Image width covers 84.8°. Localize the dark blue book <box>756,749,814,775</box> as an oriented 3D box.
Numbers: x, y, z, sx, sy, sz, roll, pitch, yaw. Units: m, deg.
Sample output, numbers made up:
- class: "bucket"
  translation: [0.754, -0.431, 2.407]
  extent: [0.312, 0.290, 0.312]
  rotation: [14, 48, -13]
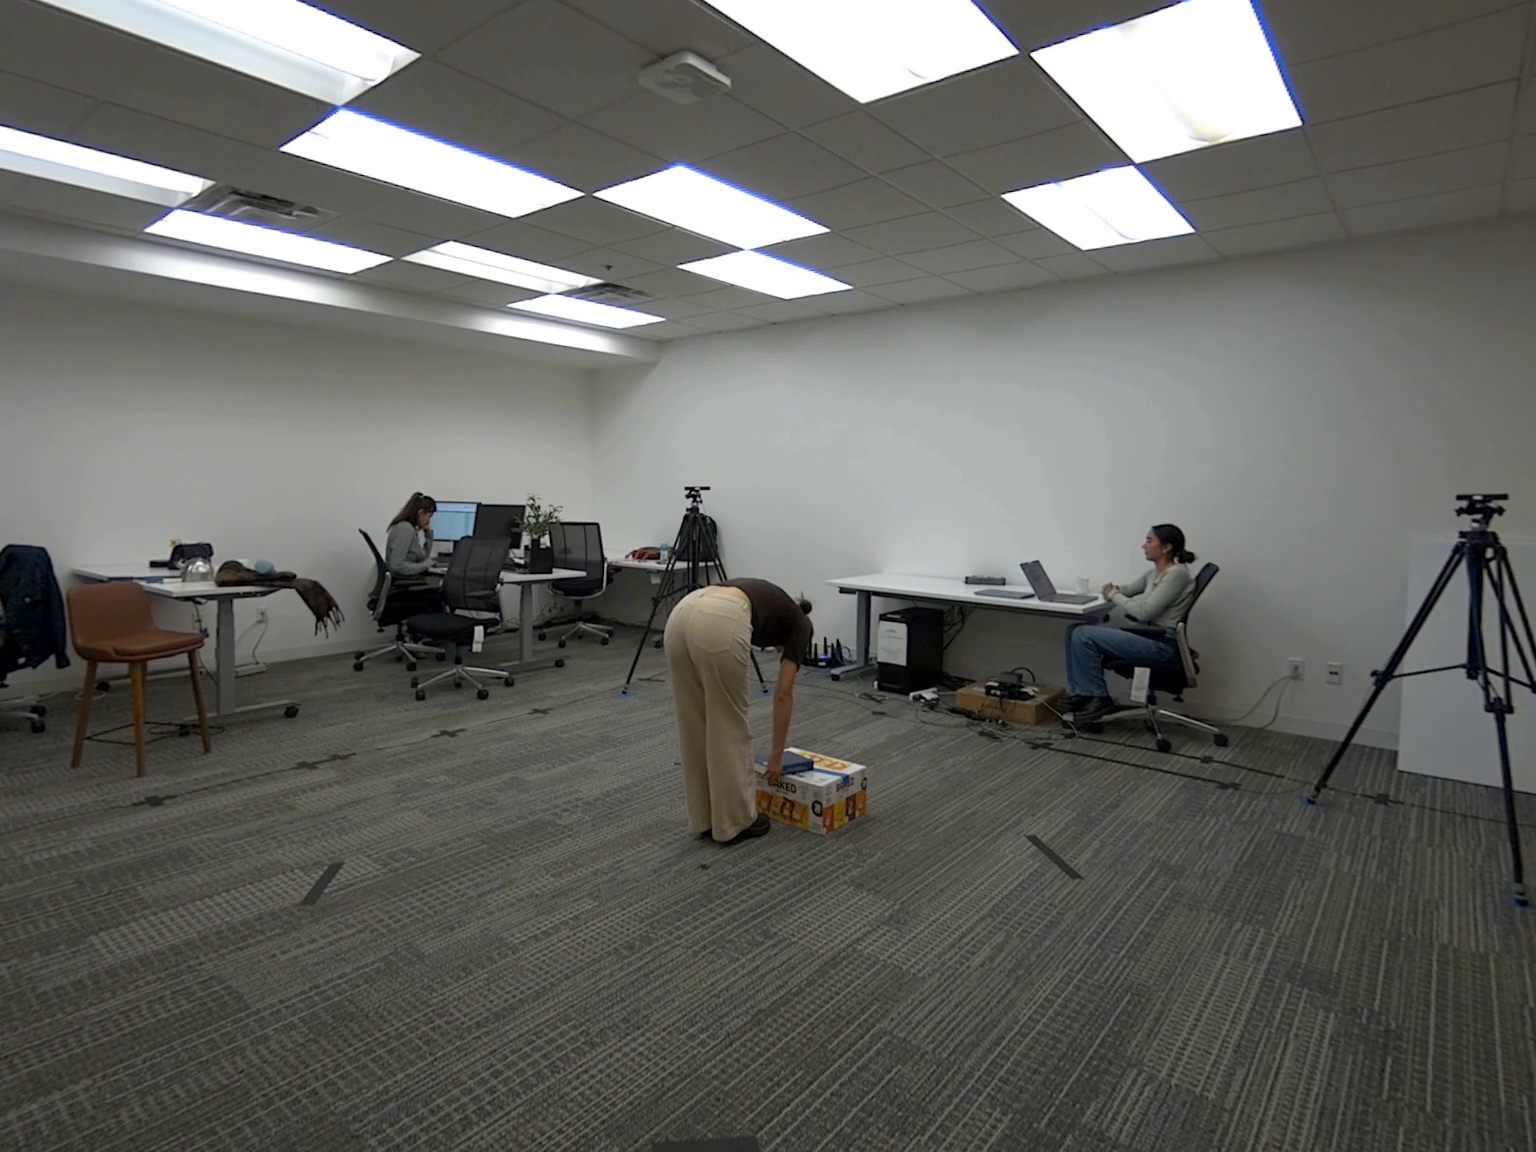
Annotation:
- class: "dark blue book"
  translation: [0.054, 0.802, 3.641]
  extent: [0.237, 0.045, 0.169]
  rotation: [0, 6, -40]
